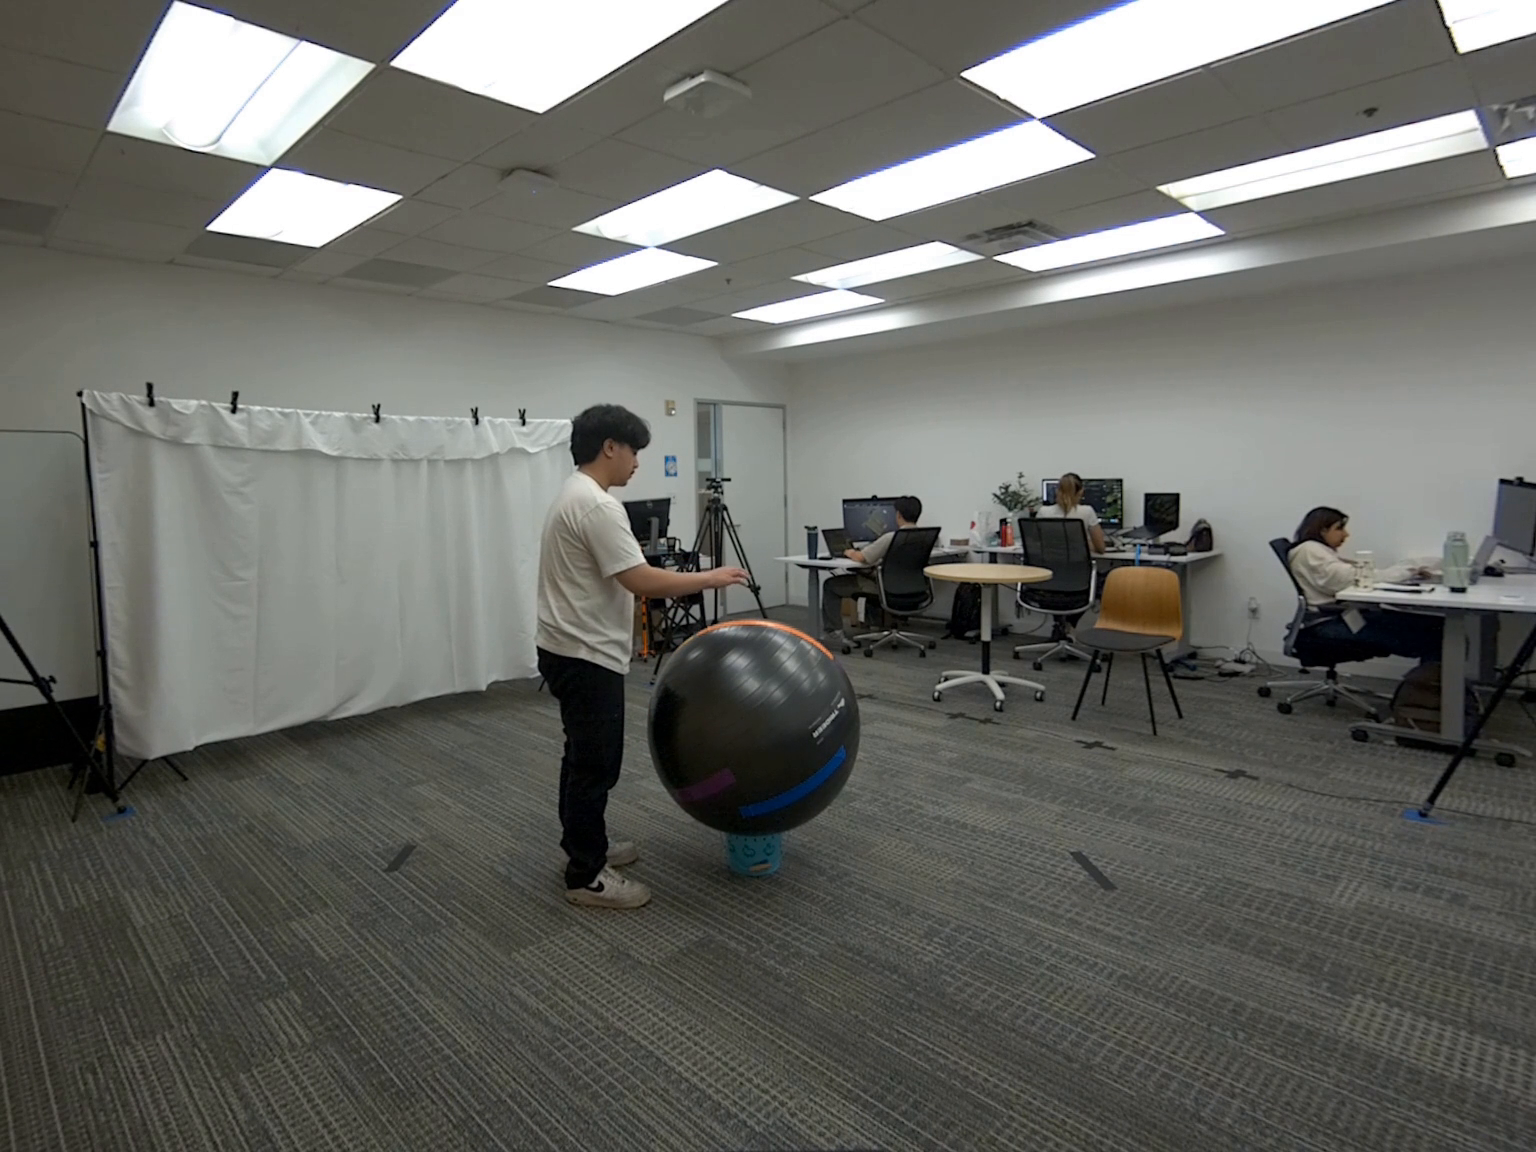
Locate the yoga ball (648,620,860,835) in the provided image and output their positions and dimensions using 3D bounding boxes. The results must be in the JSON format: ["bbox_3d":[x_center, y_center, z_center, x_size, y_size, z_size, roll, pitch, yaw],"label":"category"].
[{"bbox_3d":[-0.049,0.538,3.060,0.757,0.755,0.762,-1,5,-2],"label":"yoga ball"}]
